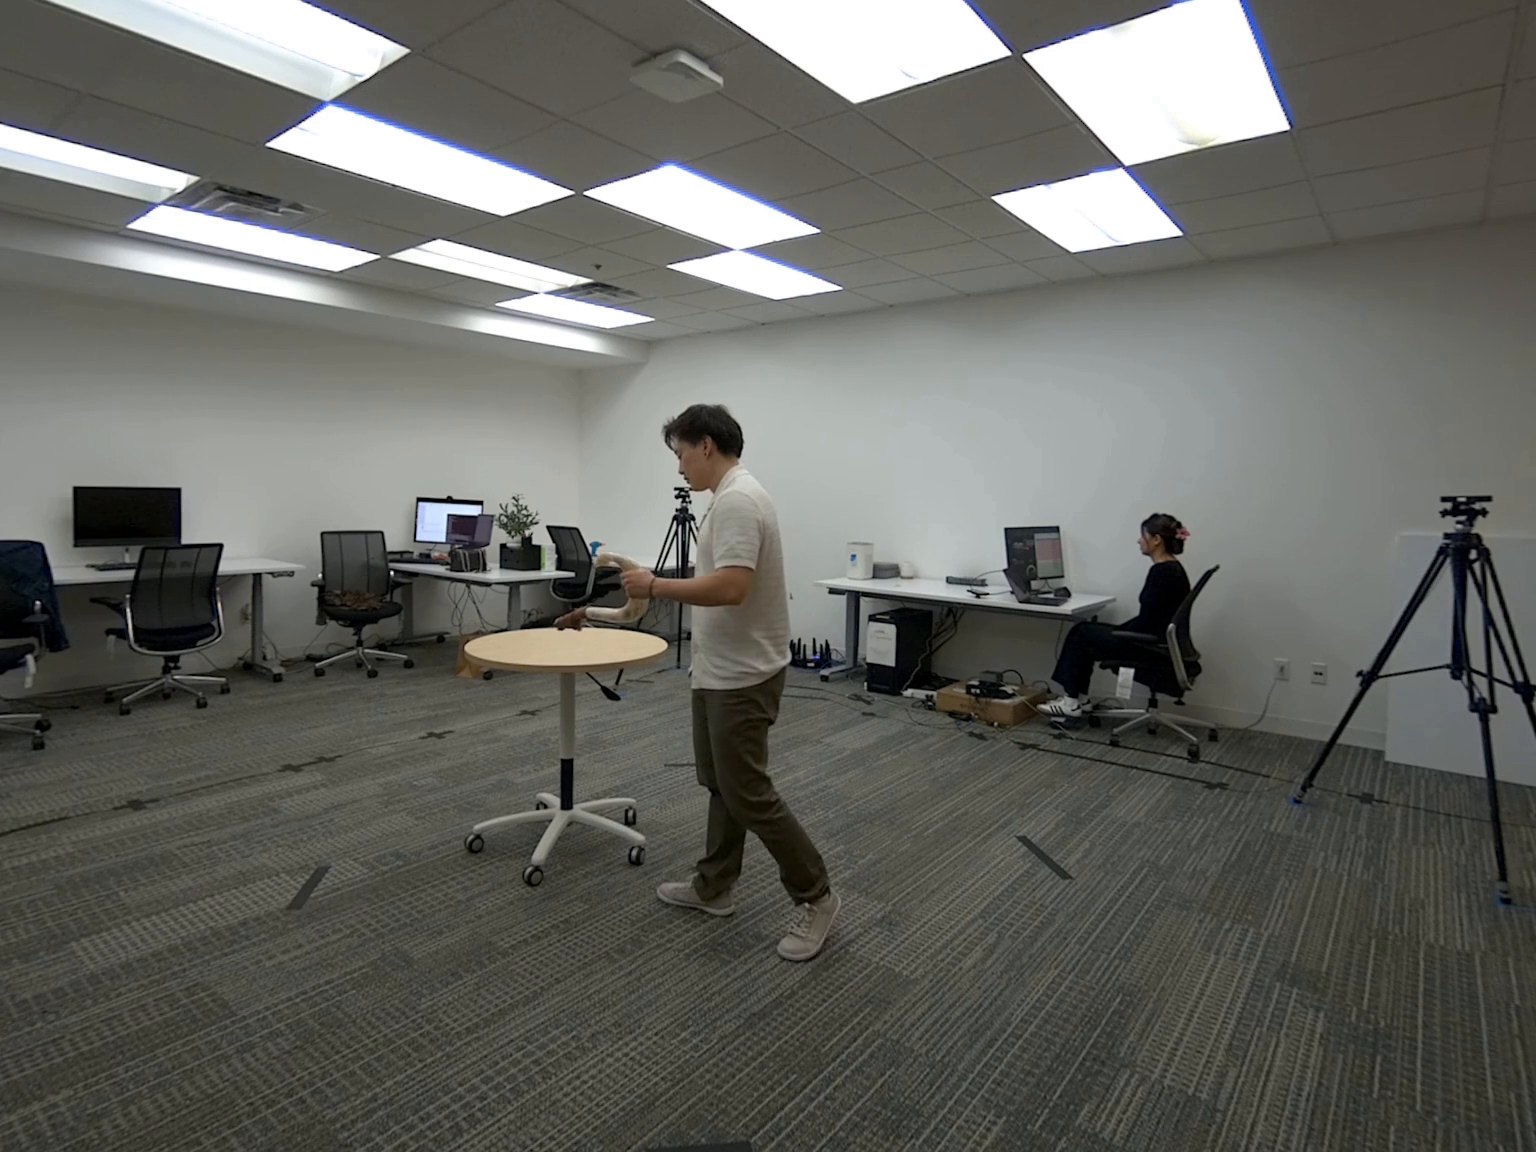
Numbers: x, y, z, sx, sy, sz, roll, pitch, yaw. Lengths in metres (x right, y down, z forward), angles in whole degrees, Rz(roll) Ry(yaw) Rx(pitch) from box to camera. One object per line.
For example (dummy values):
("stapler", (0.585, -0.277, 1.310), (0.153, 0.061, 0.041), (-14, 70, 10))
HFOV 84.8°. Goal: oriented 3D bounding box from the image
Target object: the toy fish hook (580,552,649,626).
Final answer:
("toy fish hook", (-0.560, 0.058, 2.665), (0.517, 0.225, 0.047), (-18, -3, 42))
